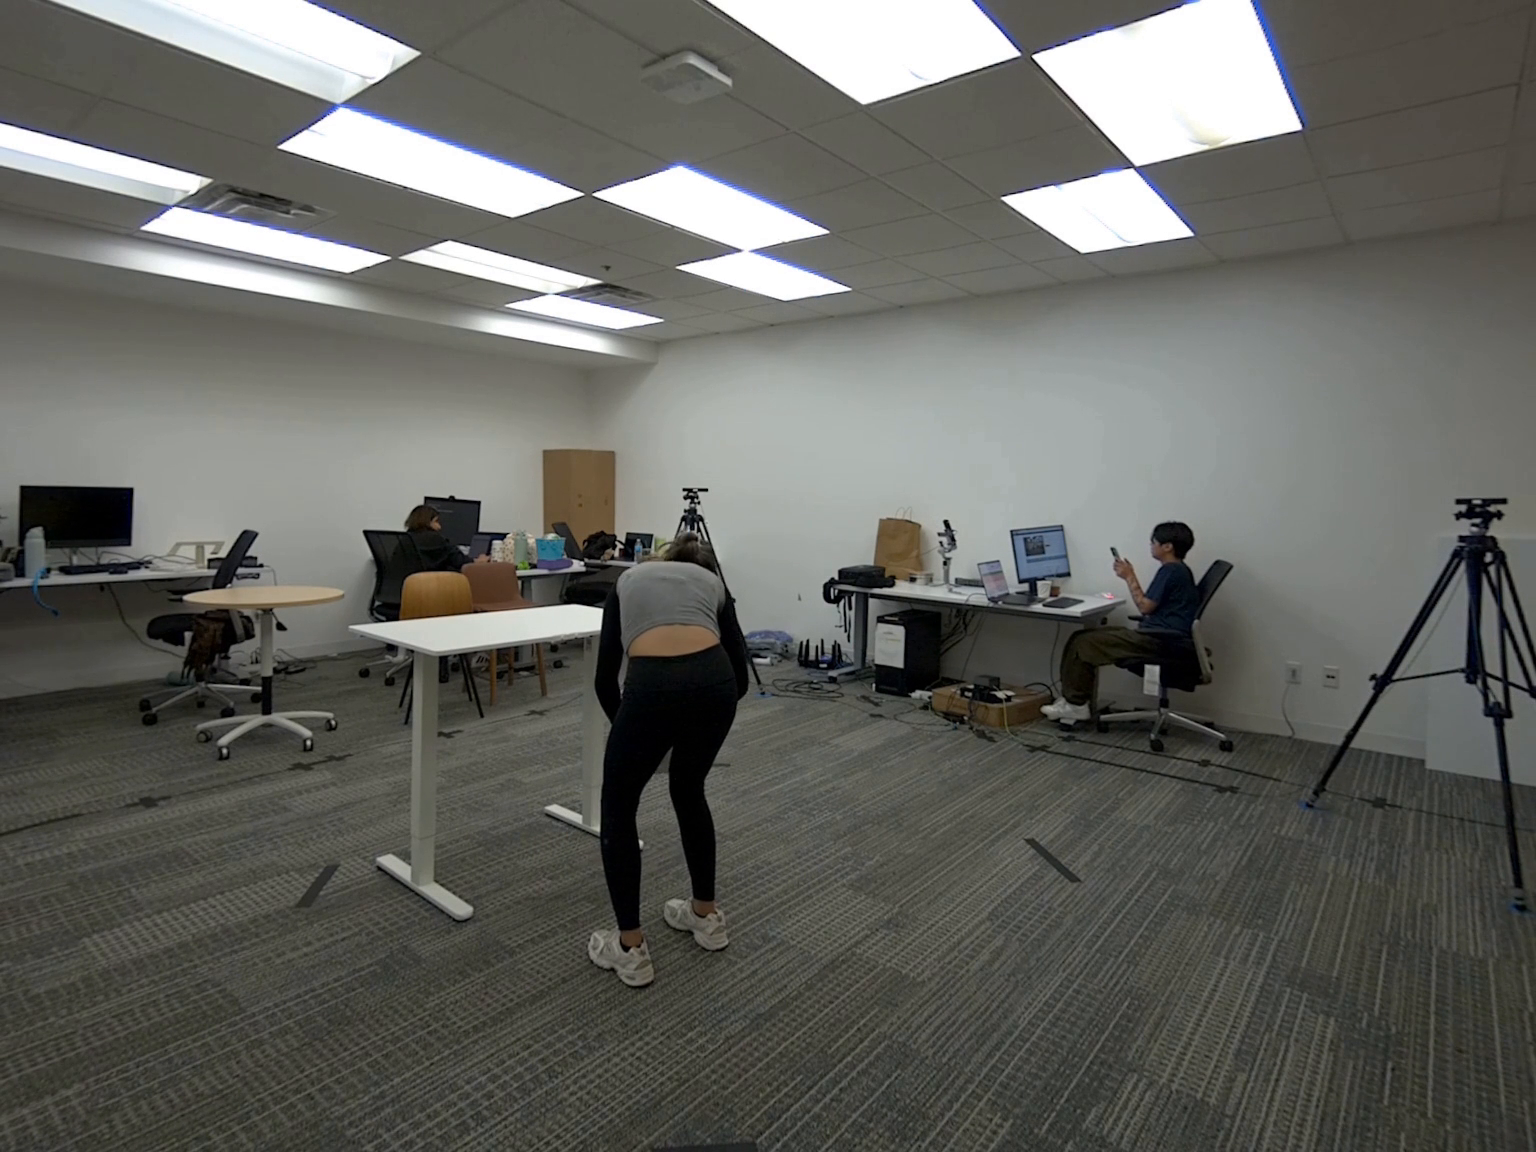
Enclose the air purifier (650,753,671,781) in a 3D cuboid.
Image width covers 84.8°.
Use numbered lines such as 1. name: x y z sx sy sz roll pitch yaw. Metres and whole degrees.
1. air purifier: -0.401 0.504 2.783 0.168 0.266 0.174 -2 -3 -21
